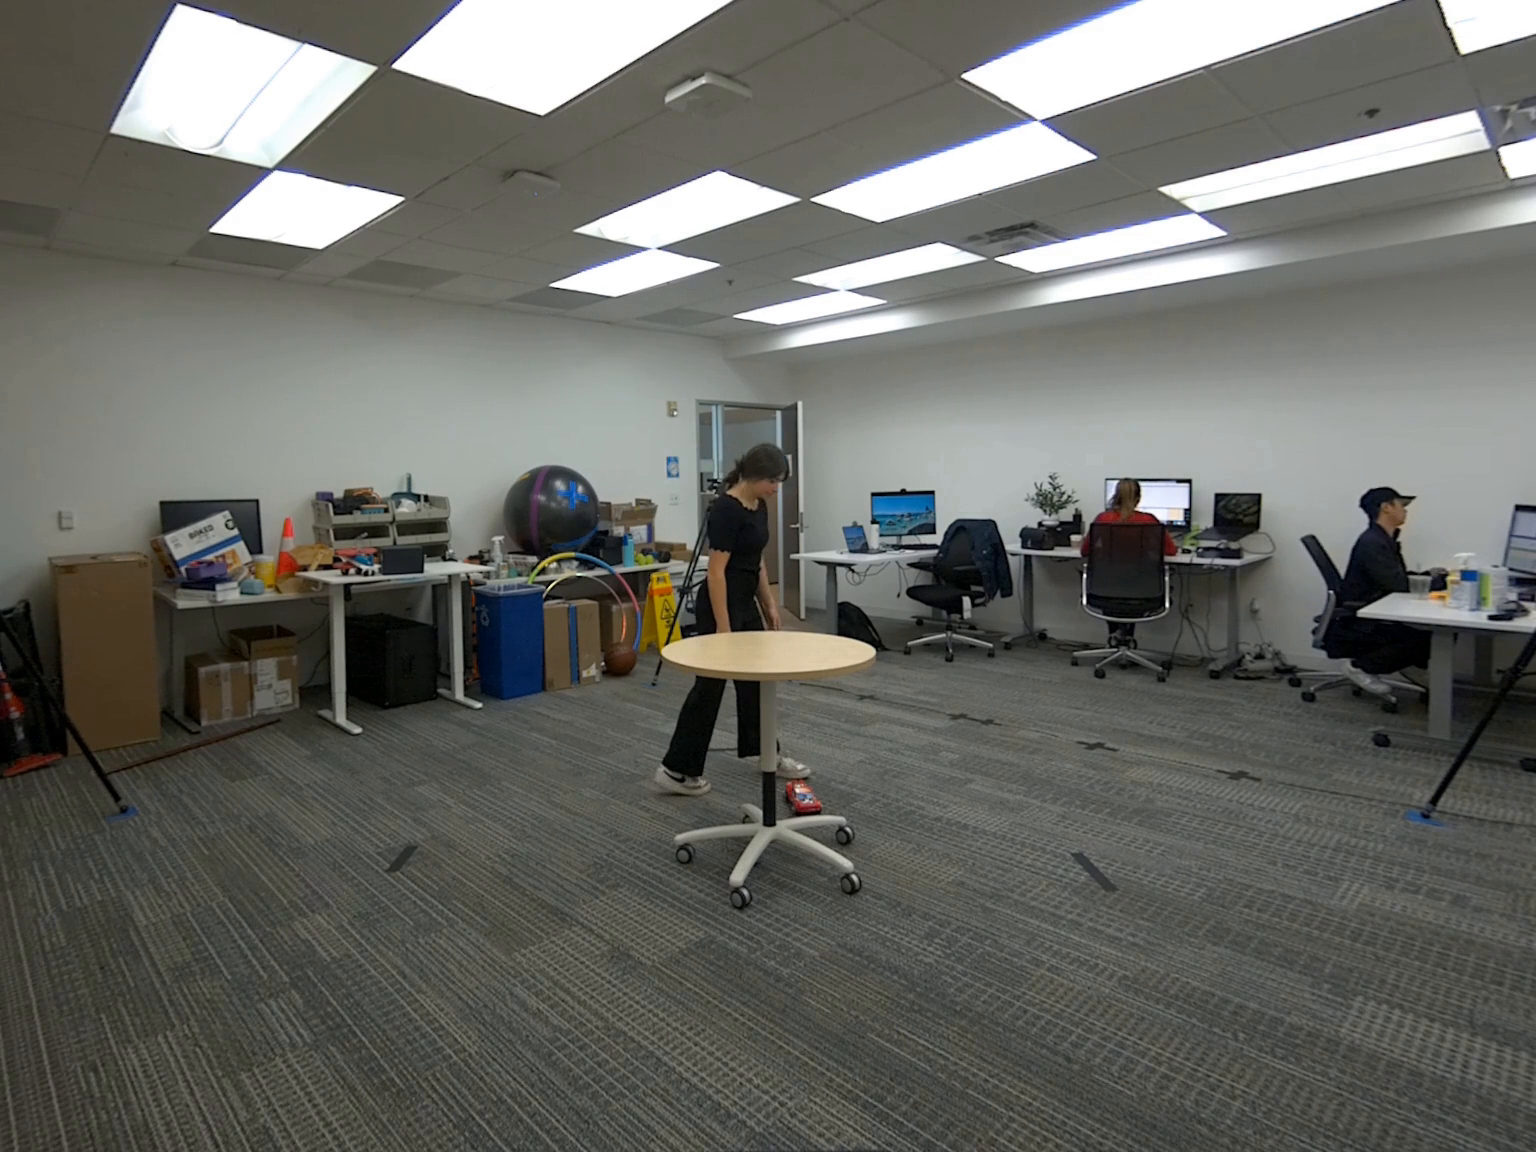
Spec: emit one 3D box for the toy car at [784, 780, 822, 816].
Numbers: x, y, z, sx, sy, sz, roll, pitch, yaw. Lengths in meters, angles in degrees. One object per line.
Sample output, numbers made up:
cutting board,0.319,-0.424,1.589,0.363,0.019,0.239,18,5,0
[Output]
toy car,0.145,0.948,3.653,0.129,0.082,0.261,-1,18,-11
